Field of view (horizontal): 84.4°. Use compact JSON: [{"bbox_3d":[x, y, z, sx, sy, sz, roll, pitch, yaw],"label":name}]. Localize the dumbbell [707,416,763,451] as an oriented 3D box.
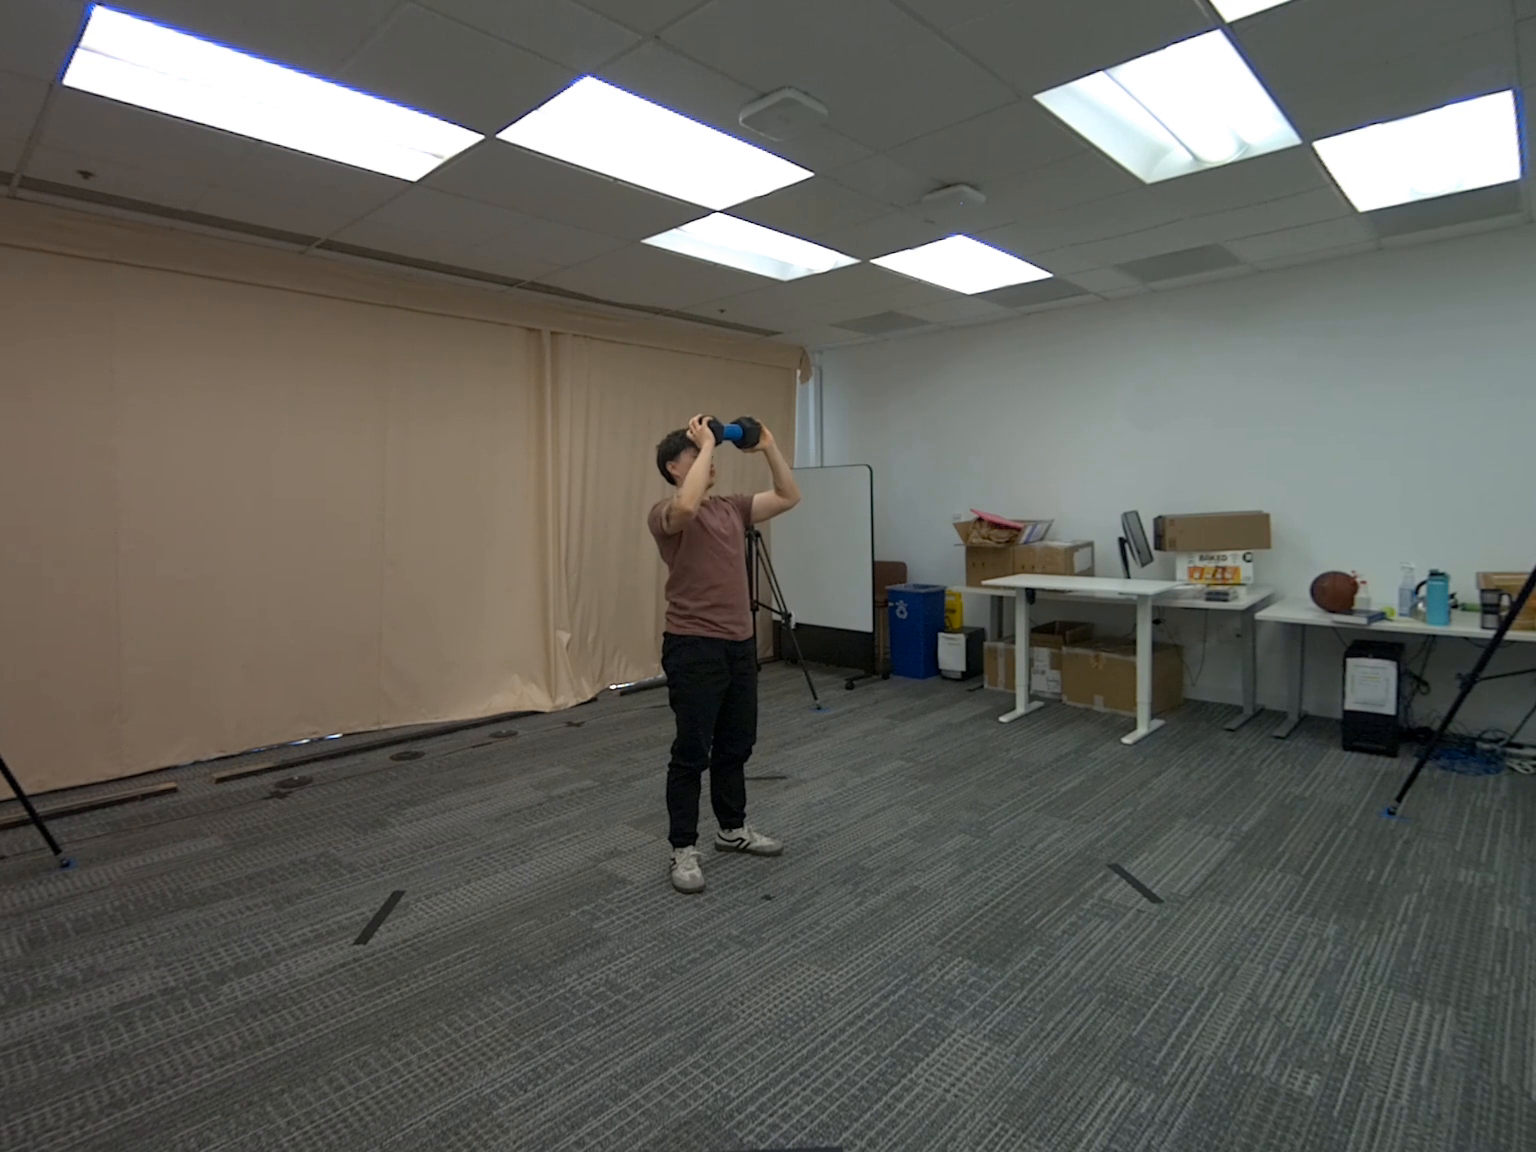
[{"bbox_3d":[-0.150,-0.533,3.118,0.285,0.109,0.126,-12,52,-50],"label":"dumbbell"}]
